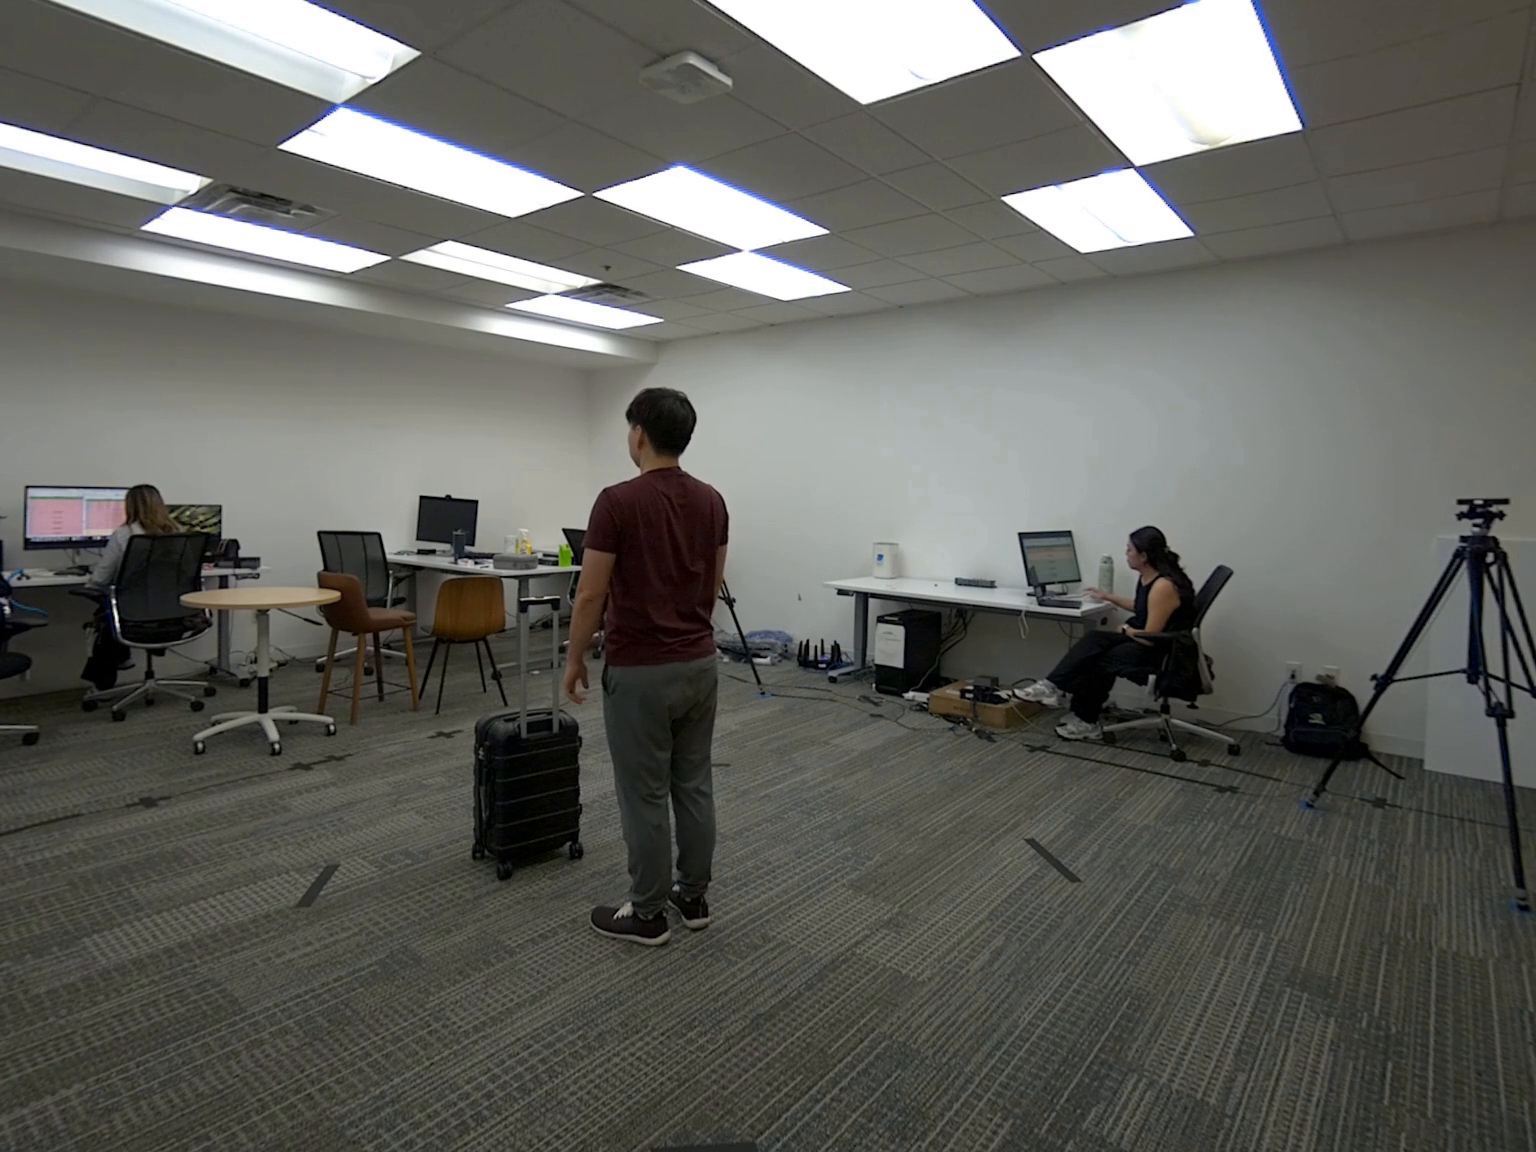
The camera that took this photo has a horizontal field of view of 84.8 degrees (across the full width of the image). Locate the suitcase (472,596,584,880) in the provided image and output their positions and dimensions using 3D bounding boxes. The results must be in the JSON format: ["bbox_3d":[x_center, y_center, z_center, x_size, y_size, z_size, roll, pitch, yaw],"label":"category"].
[{"bbox_3d":[-0.922,0.575,3.188,0.373,0.980,0.264,0,-1,-36],"label":"suitcase"}]
